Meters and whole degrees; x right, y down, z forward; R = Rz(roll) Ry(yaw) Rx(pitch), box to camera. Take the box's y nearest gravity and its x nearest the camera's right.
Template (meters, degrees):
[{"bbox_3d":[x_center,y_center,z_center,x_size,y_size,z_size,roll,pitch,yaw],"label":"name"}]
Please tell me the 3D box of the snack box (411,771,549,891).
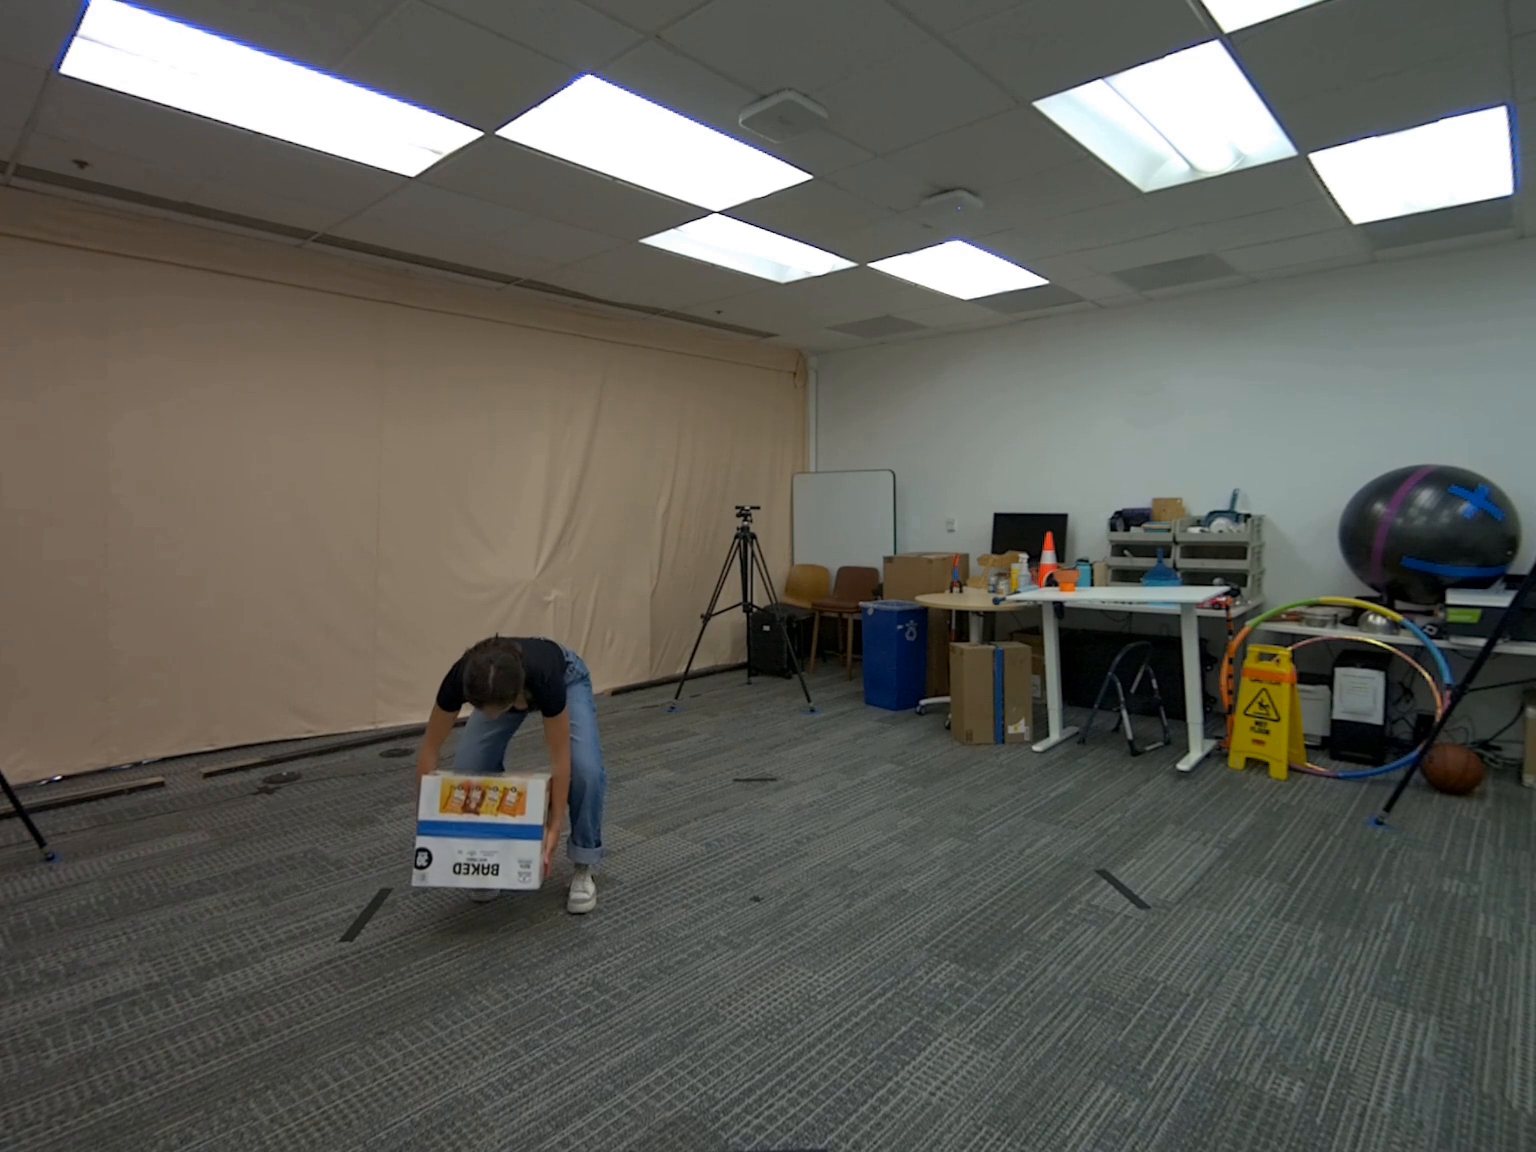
[{"bbox_3d":[-0.939,0.836,2.798,0.404,0.342,0.205,3,-7,-2],"label":"snack box"}]
